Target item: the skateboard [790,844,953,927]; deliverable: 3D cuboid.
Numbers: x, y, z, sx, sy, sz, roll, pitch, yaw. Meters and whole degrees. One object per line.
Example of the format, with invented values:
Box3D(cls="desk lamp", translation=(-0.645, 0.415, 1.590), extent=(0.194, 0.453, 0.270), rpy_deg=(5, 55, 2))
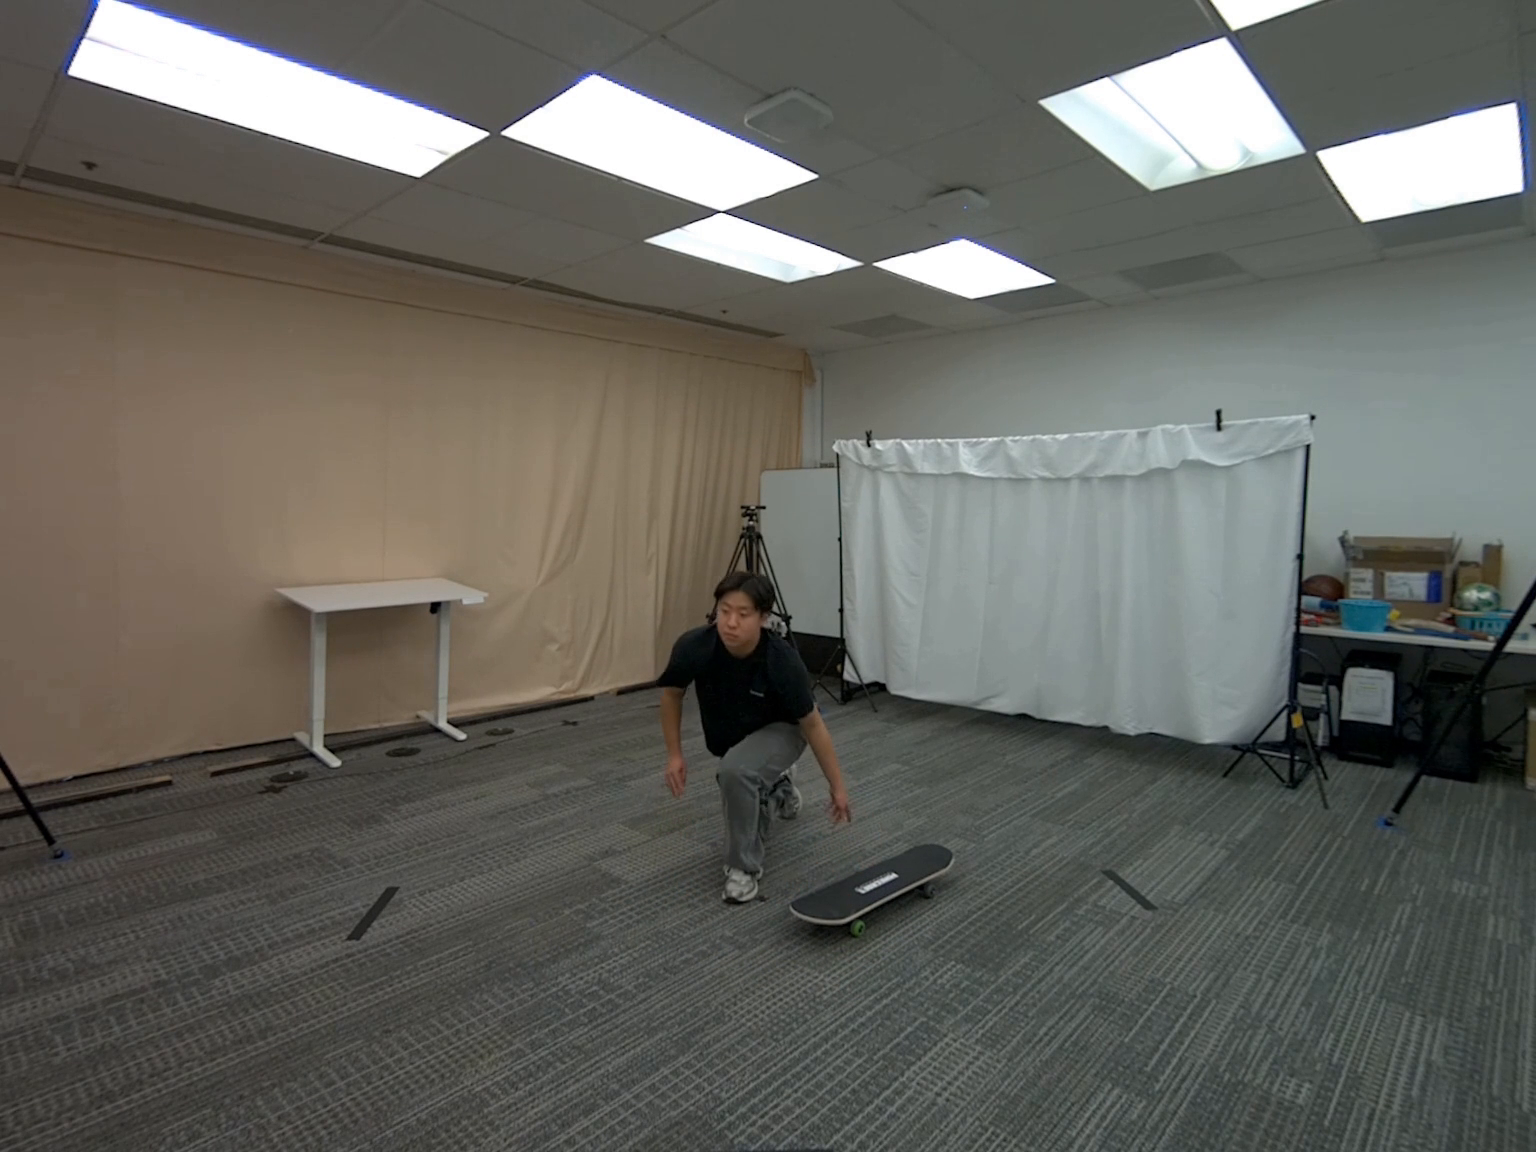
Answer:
Box3D(cls="skateboard", translation=(0.379, 1.092, 2.910), extent=(0.762, 0.110, 0.200), rpy_deg=(-5, 6, -43))
